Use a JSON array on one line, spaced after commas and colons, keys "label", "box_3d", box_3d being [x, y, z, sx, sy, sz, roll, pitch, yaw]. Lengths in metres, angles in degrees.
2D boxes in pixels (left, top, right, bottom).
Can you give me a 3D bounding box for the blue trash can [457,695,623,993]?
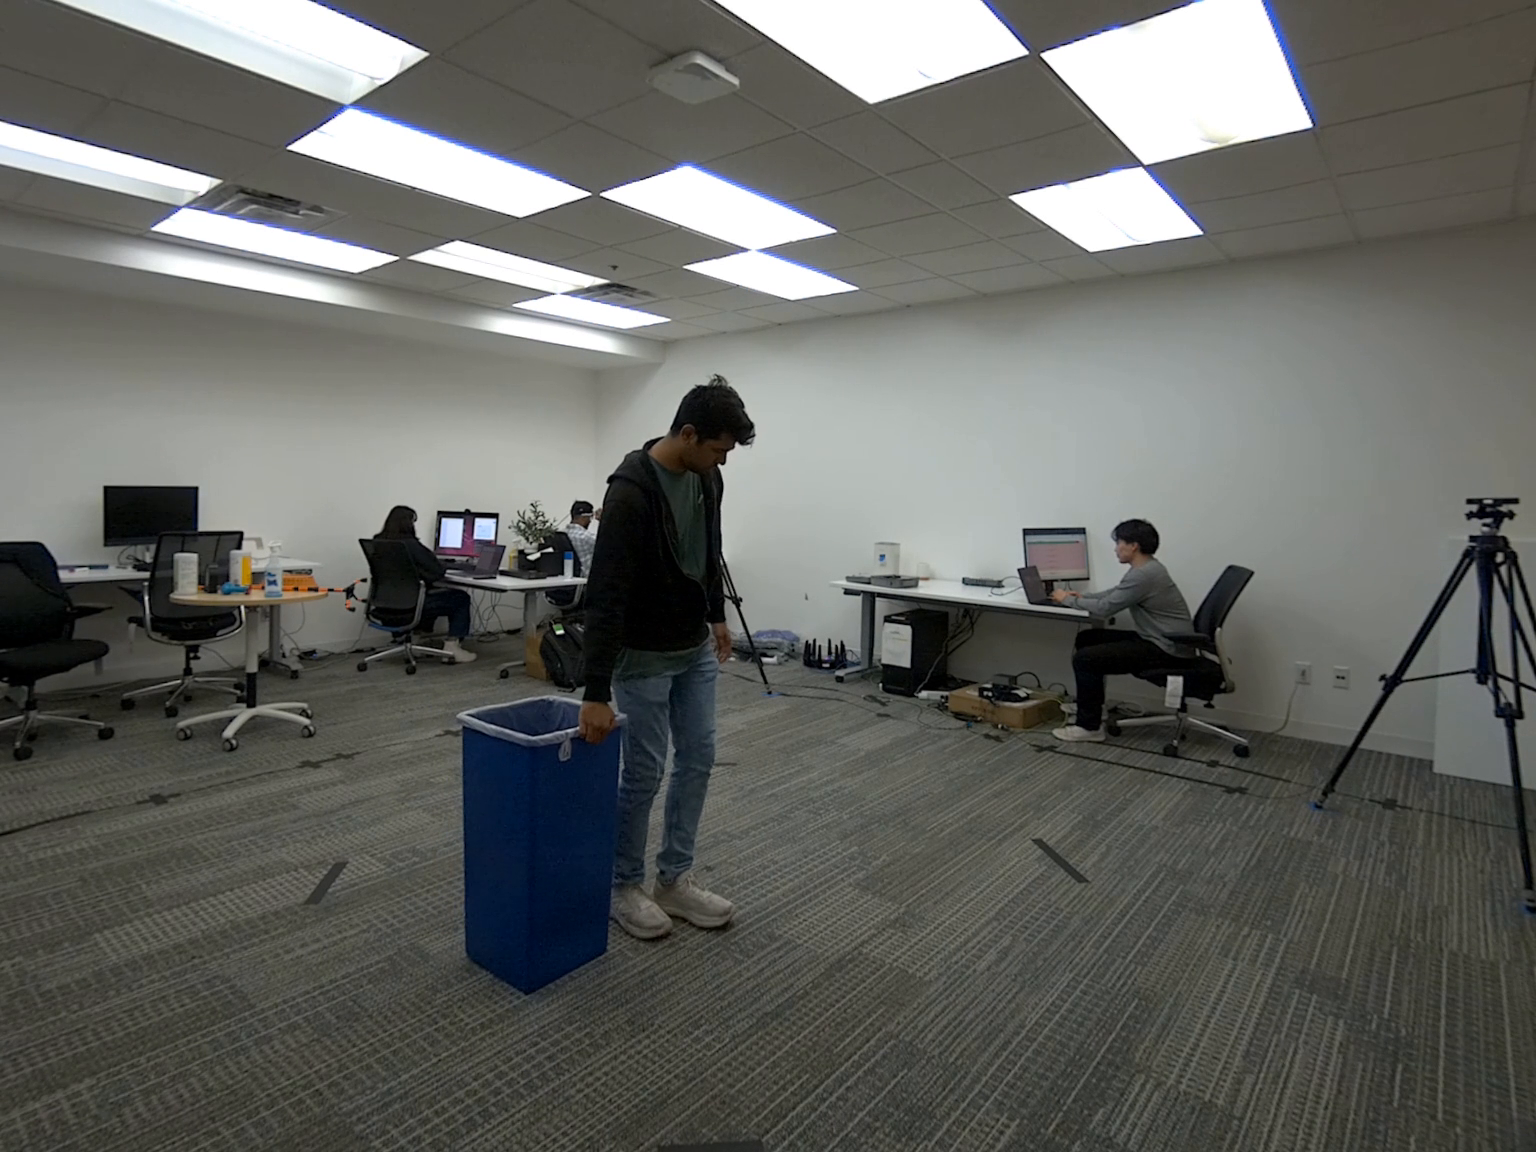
[{"label": "blue trash can", "box_3d": [-0.682, 0.754, 2.509, 0.390, 0.712, 0.363, 3, 4, 37]}]
